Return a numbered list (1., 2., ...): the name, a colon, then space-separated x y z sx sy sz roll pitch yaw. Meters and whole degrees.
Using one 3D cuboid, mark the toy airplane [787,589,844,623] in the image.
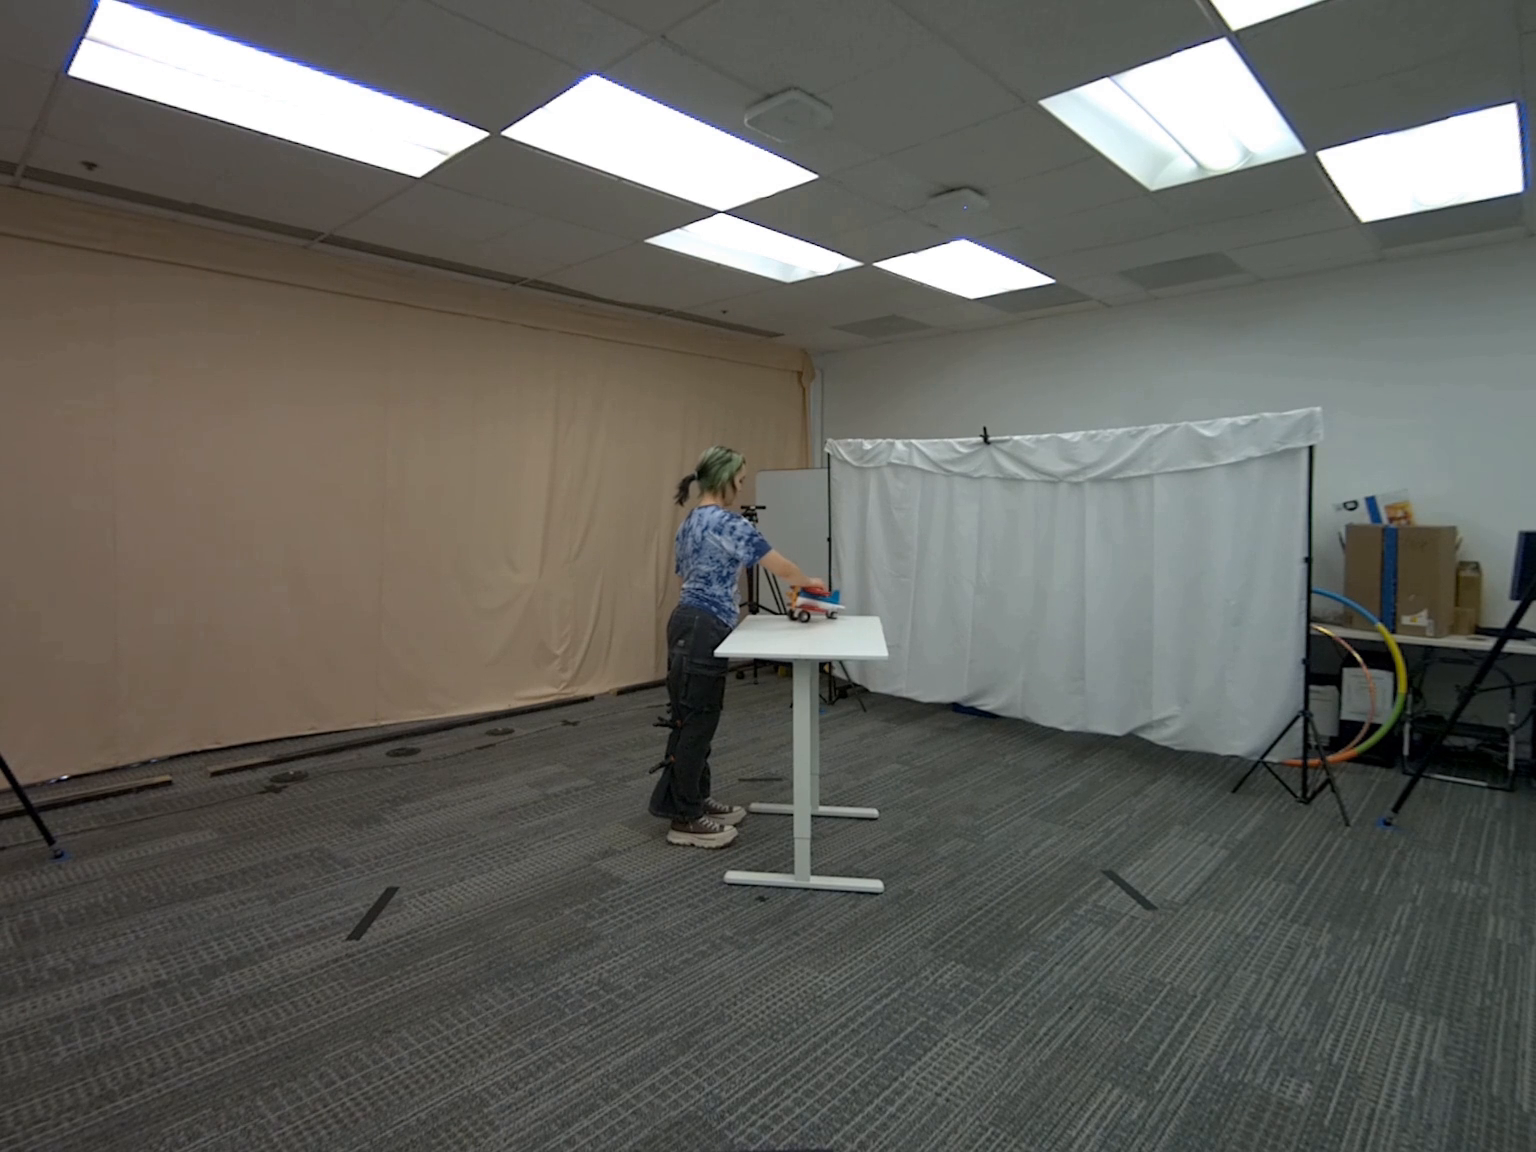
1. toy airplane: 0.198 0.120 3.748 0.259 0.156 0.252 3 7 34
